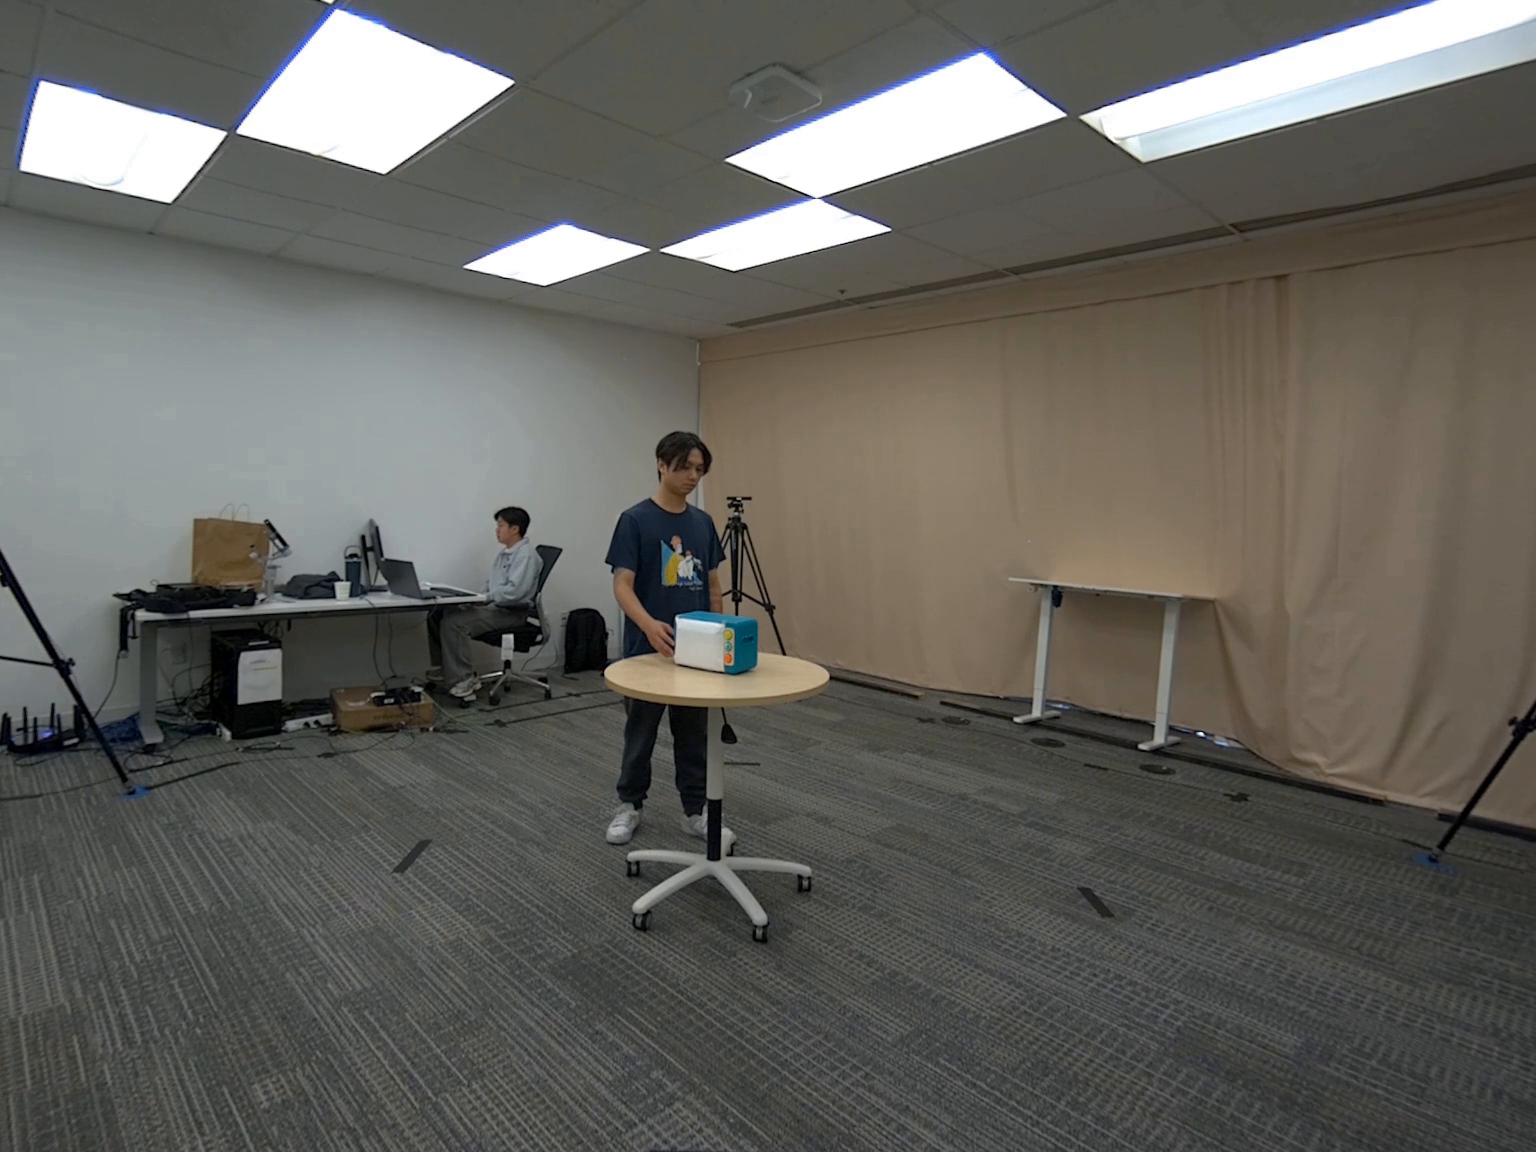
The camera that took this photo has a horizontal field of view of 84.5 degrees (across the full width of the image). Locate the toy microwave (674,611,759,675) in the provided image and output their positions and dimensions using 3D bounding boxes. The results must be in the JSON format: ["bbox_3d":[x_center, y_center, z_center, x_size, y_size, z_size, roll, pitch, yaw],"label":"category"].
[{"bbox_3d":[-0.191,0.235,2.913,0.292,0.183,0.149,3,6,32],"label":"toy microwave"}]
